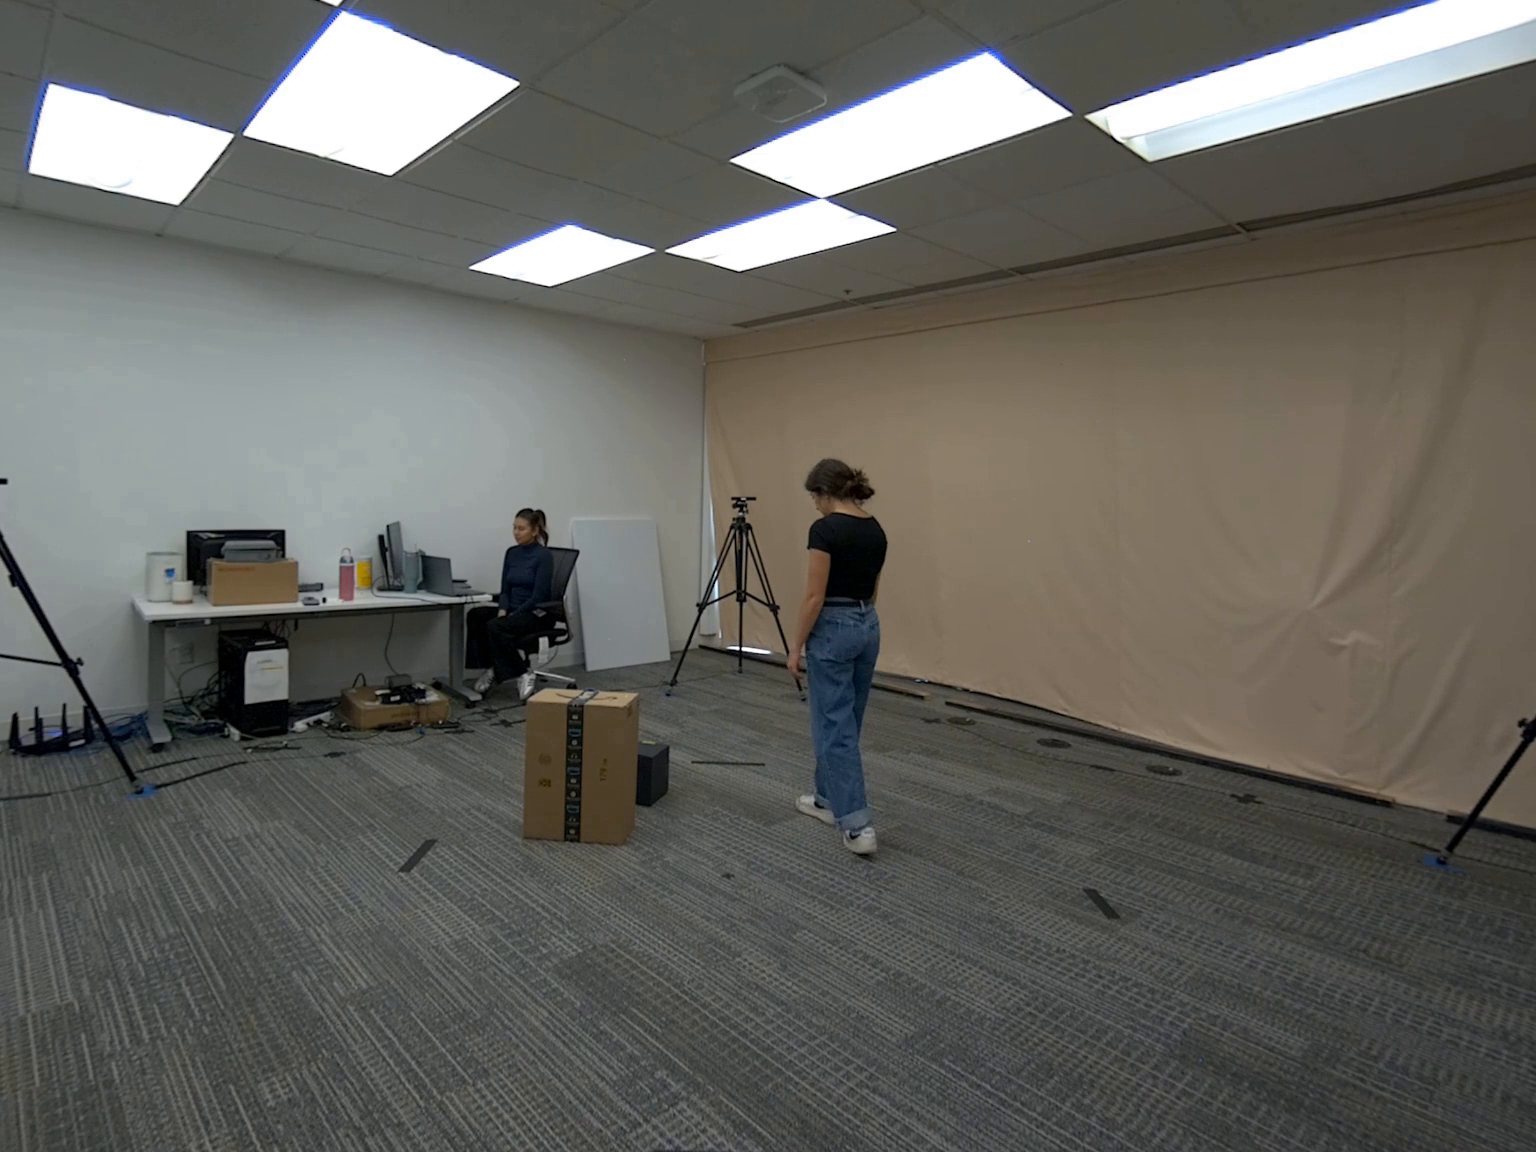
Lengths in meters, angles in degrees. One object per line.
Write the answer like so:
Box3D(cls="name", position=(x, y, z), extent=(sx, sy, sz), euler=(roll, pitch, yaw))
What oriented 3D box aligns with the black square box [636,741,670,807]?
Box3D(cls="black square box", position=(-0.572, 0.903, 3.901), extent=(0.158, 0.227, 0.215), euler=(3, 4, 15))
